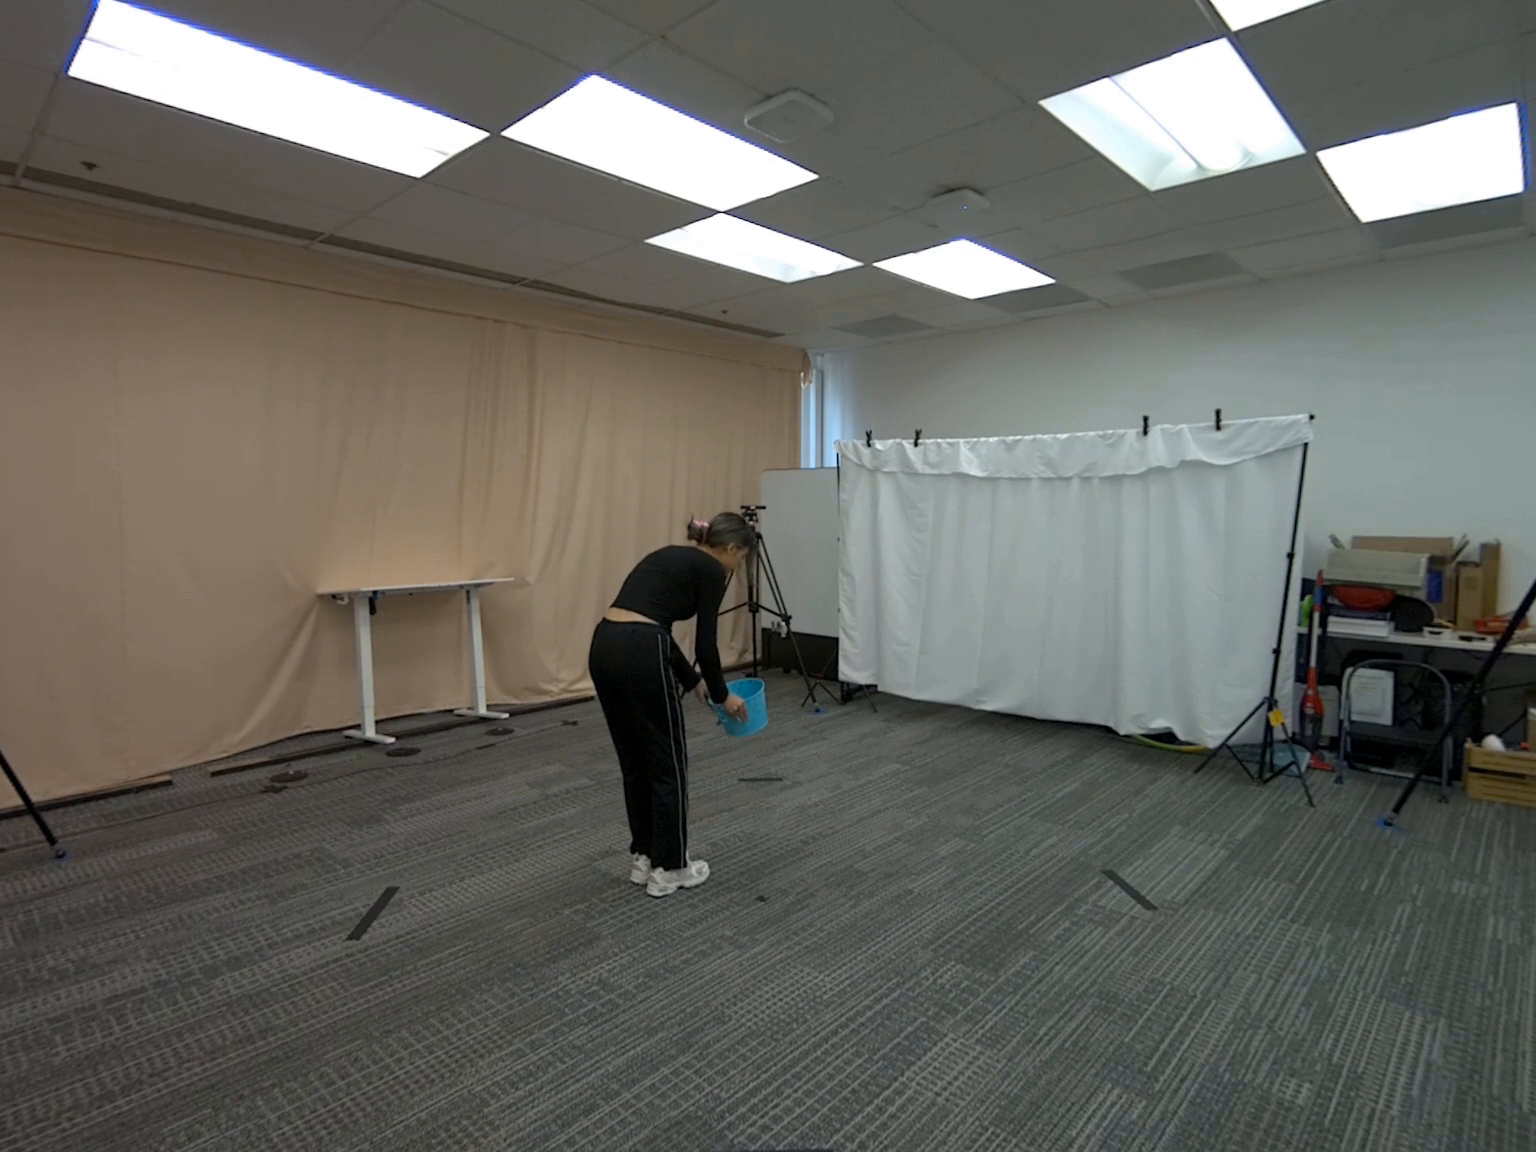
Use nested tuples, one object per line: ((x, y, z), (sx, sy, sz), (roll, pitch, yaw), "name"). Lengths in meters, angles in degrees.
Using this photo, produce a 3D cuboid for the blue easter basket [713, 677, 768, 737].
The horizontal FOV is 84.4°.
((-0.117, 0.526, 3.373), (0.244, 0.154, 0.246), (-16, 14, 2), "blue easter basket")
